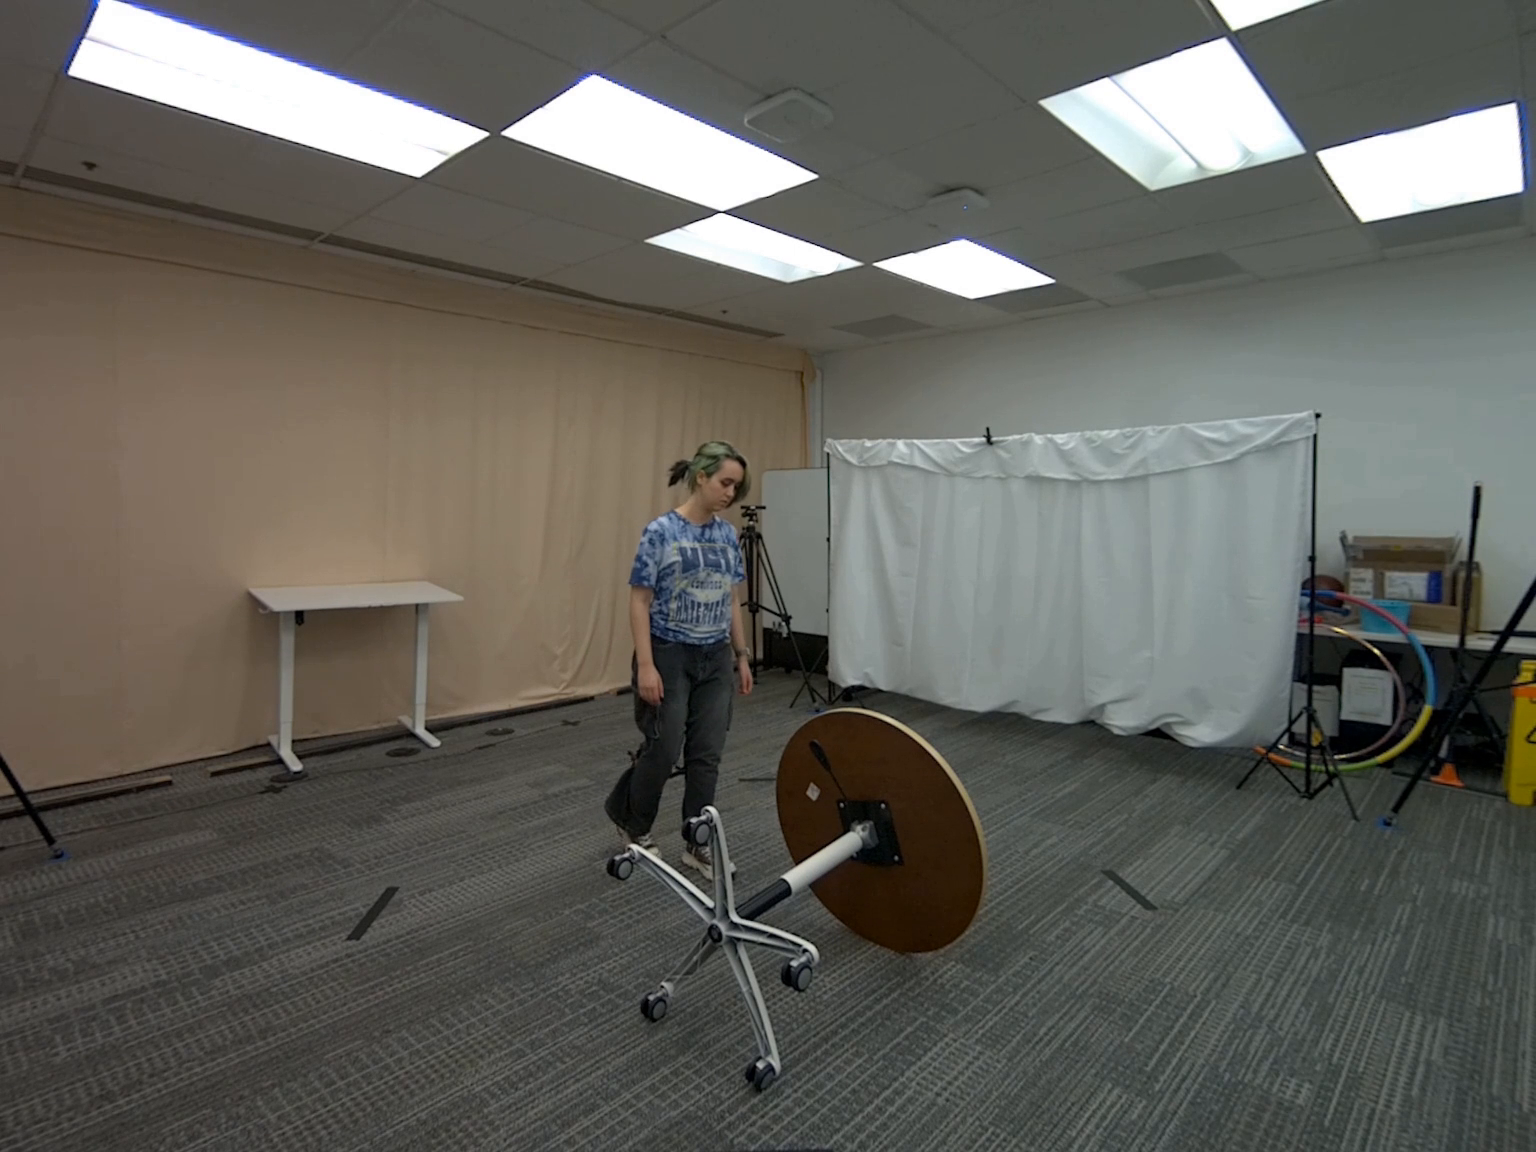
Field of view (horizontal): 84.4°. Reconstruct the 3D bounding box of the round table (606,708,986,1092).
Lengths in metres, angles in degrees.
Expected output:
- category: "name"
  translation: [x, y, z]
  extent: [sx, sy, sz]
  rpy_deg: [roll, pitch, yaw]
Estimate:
- category: "round table"
  translation: [0.078, 0.855, 2.363]
  extent: [0.789, 0.759, 0.772]
  rpy_deg: [4, 12, 43]
